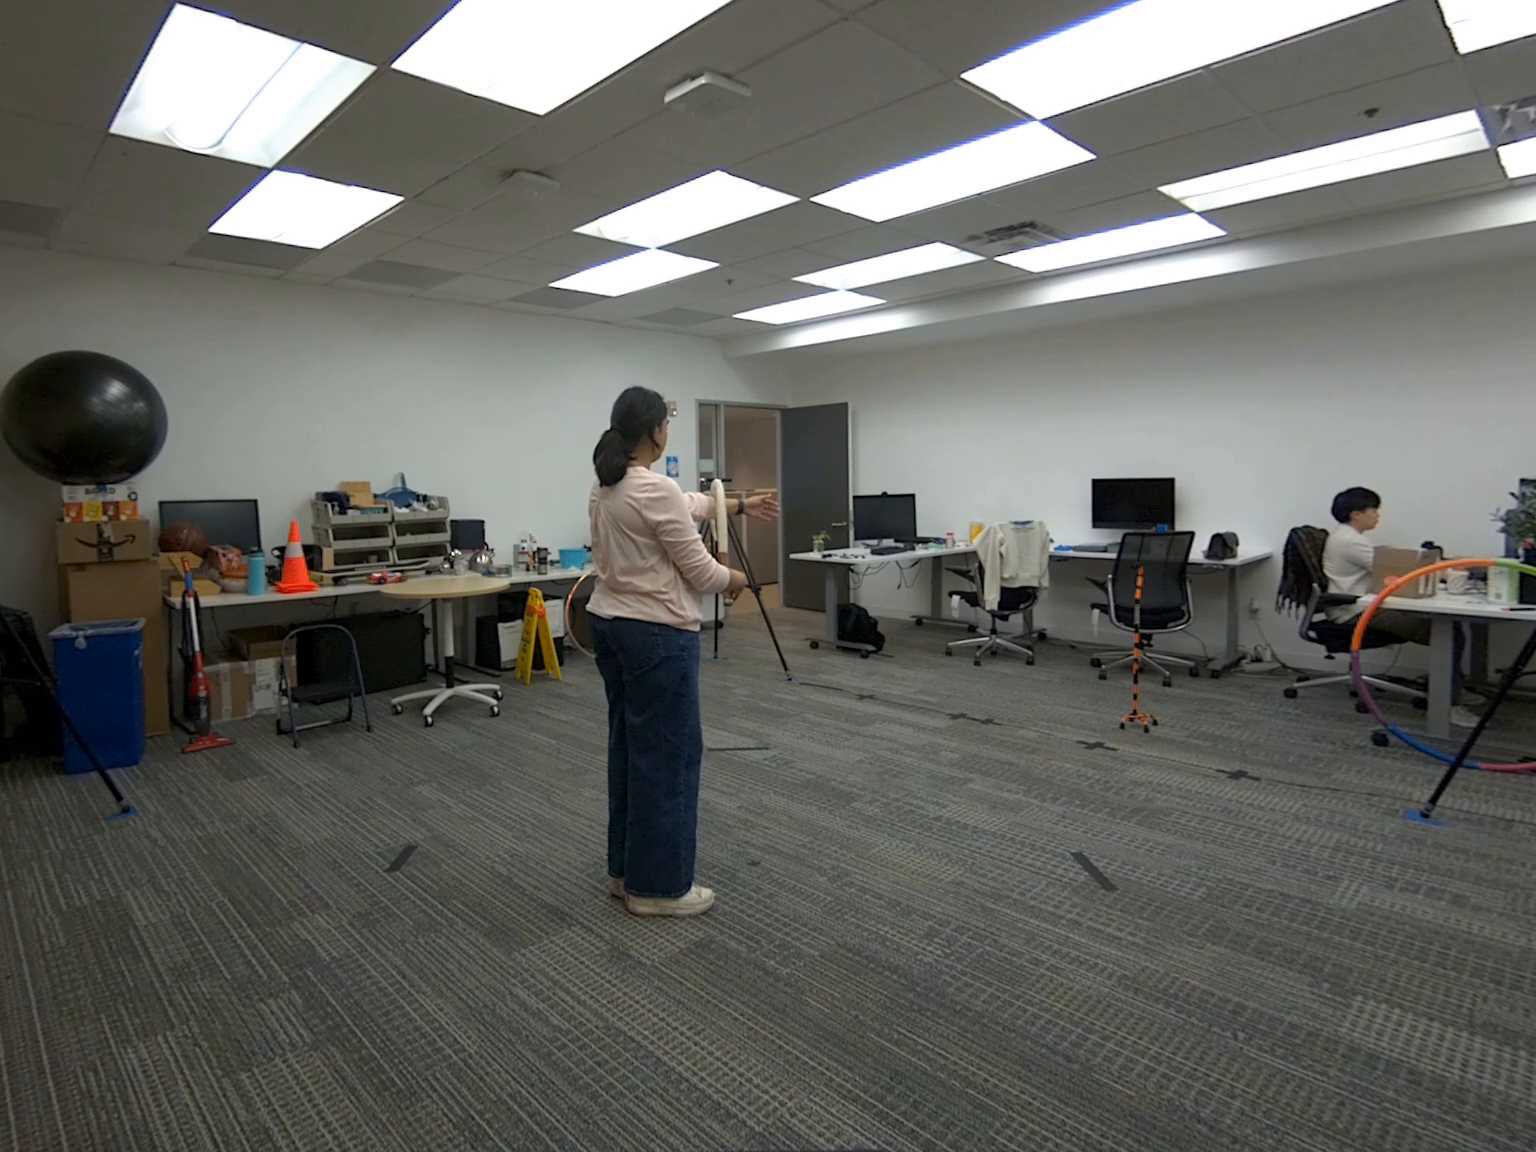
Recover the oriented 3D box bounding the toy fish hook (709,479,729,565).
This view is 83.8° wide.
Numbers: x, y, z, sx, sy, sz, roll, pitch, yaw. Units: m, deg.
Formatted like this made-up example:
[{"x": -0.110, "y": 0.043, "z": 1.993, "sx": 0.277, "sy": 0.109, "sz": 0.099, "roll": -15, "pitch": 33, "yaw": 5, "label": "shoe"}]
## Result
[{"x": -0.188, "y": -0.111, "z": 3.150, "sx": 0.048, "sy": 0.517, "sz": 0.221, "roll": 1, "pitch": -24, "yaw": -4, "label": "toy fish hook"}]
